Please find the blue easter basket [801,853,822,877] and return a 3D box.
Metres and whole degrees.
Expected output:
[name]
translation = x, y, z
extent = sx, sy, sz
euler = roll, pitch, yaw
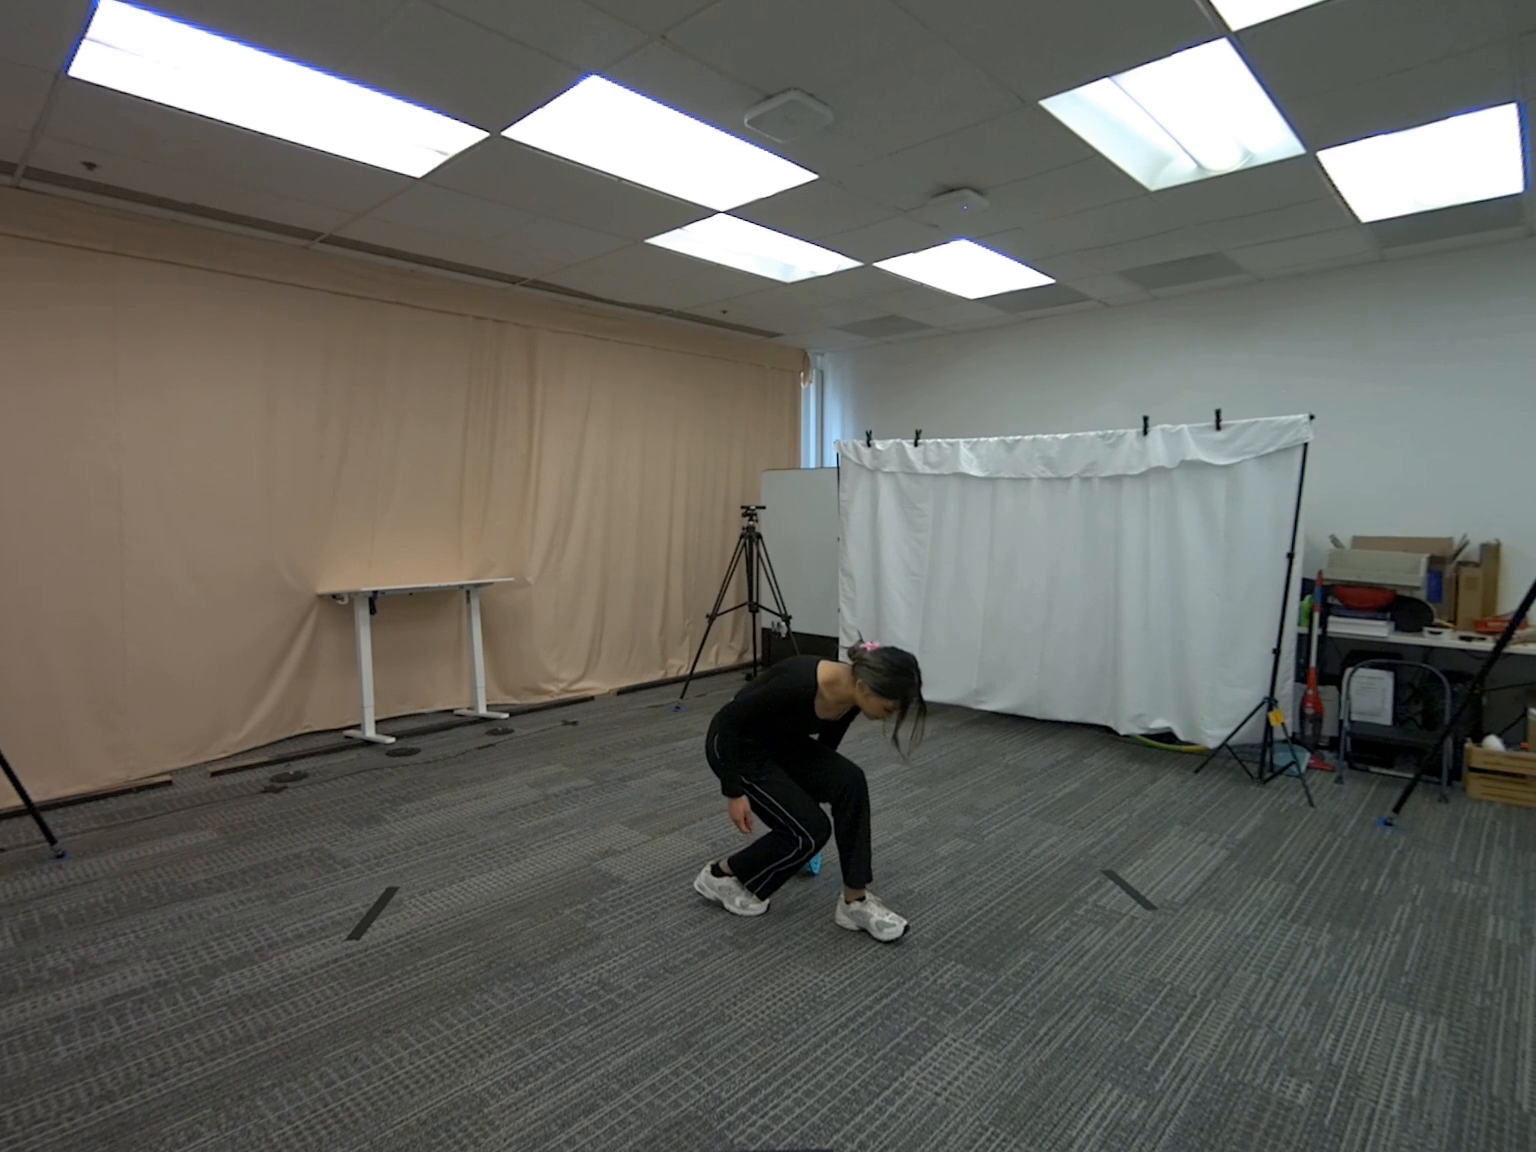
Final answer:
[blue easter basket]
translation = 0.121, 1.013, 3.220
extent = 0.158, 0.243, 0.240
euler = -7, 2, 16
